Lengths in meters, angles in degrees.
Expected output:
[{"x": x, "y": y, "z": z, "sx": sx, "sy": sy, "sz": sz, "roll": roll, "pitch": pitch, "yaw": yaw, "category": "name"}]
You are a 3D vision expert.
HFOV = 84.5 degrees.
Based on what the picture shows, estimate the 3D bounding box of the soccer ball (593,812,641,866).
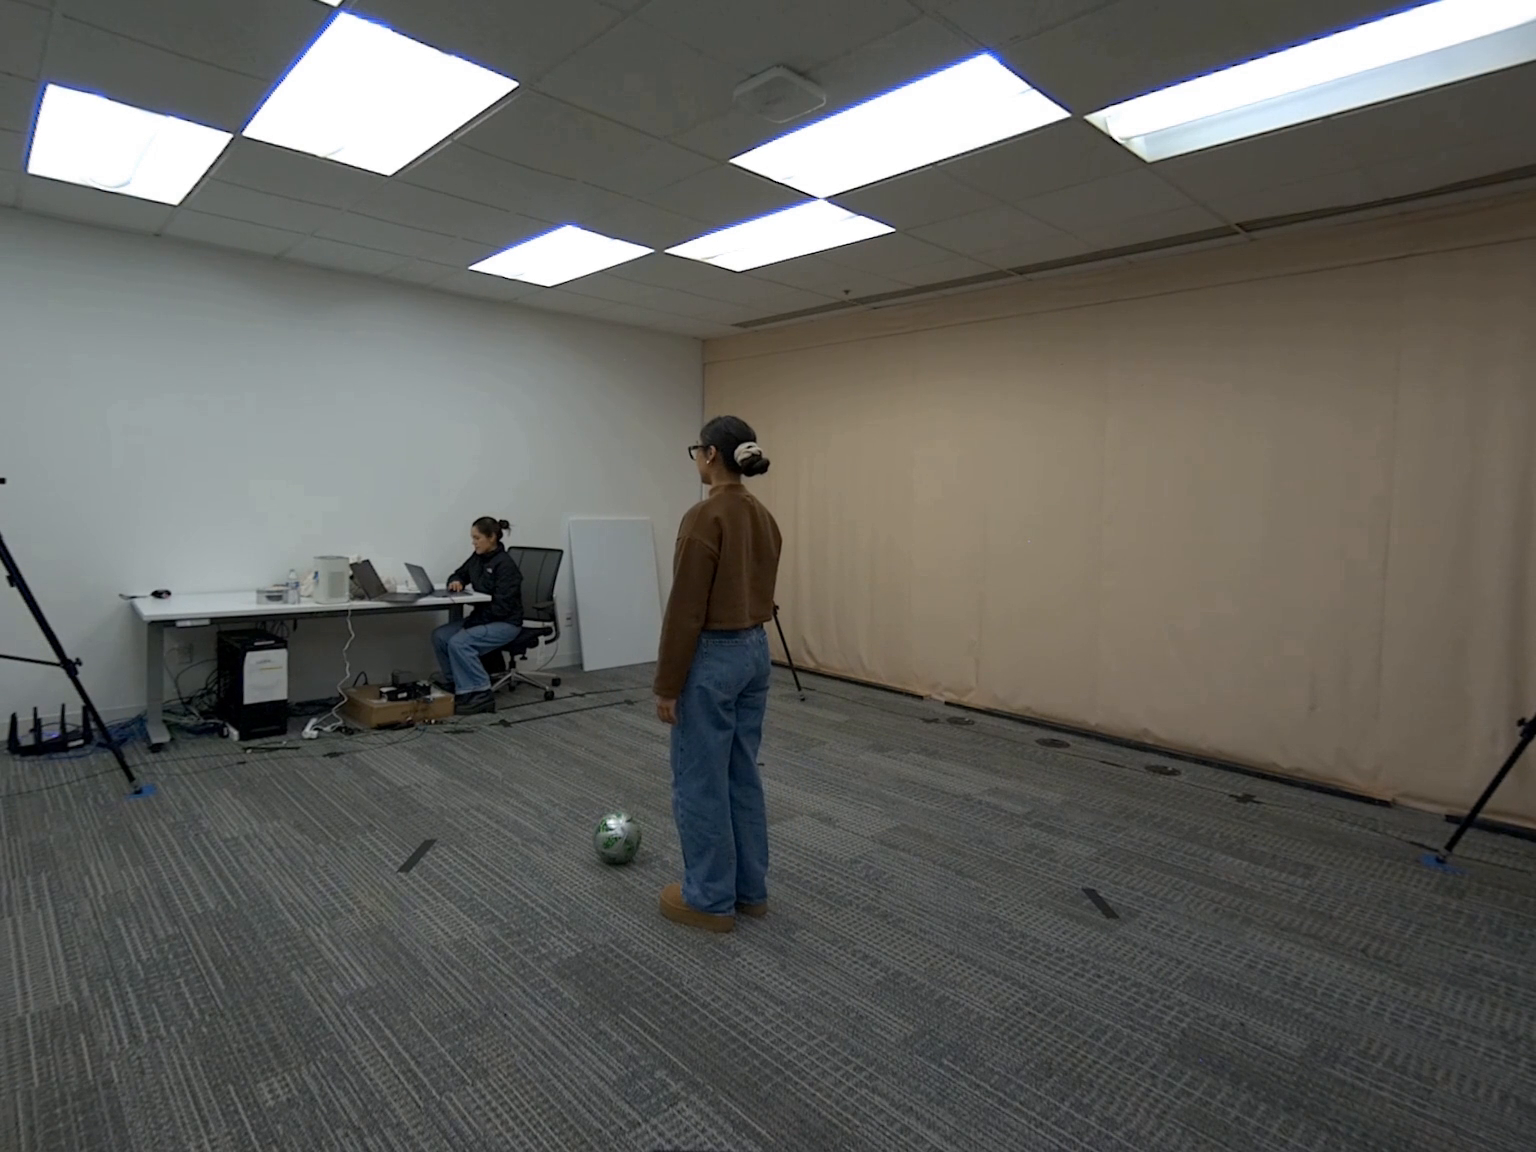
[{"x": -0.580, "y": 0.996, "z": 3.200, "sx": 0.187, "sy": 0.187, "sz": 0.188, "roll": 1, "pitch": 4, "yaw": -1, "category": "soccer ball"}]
